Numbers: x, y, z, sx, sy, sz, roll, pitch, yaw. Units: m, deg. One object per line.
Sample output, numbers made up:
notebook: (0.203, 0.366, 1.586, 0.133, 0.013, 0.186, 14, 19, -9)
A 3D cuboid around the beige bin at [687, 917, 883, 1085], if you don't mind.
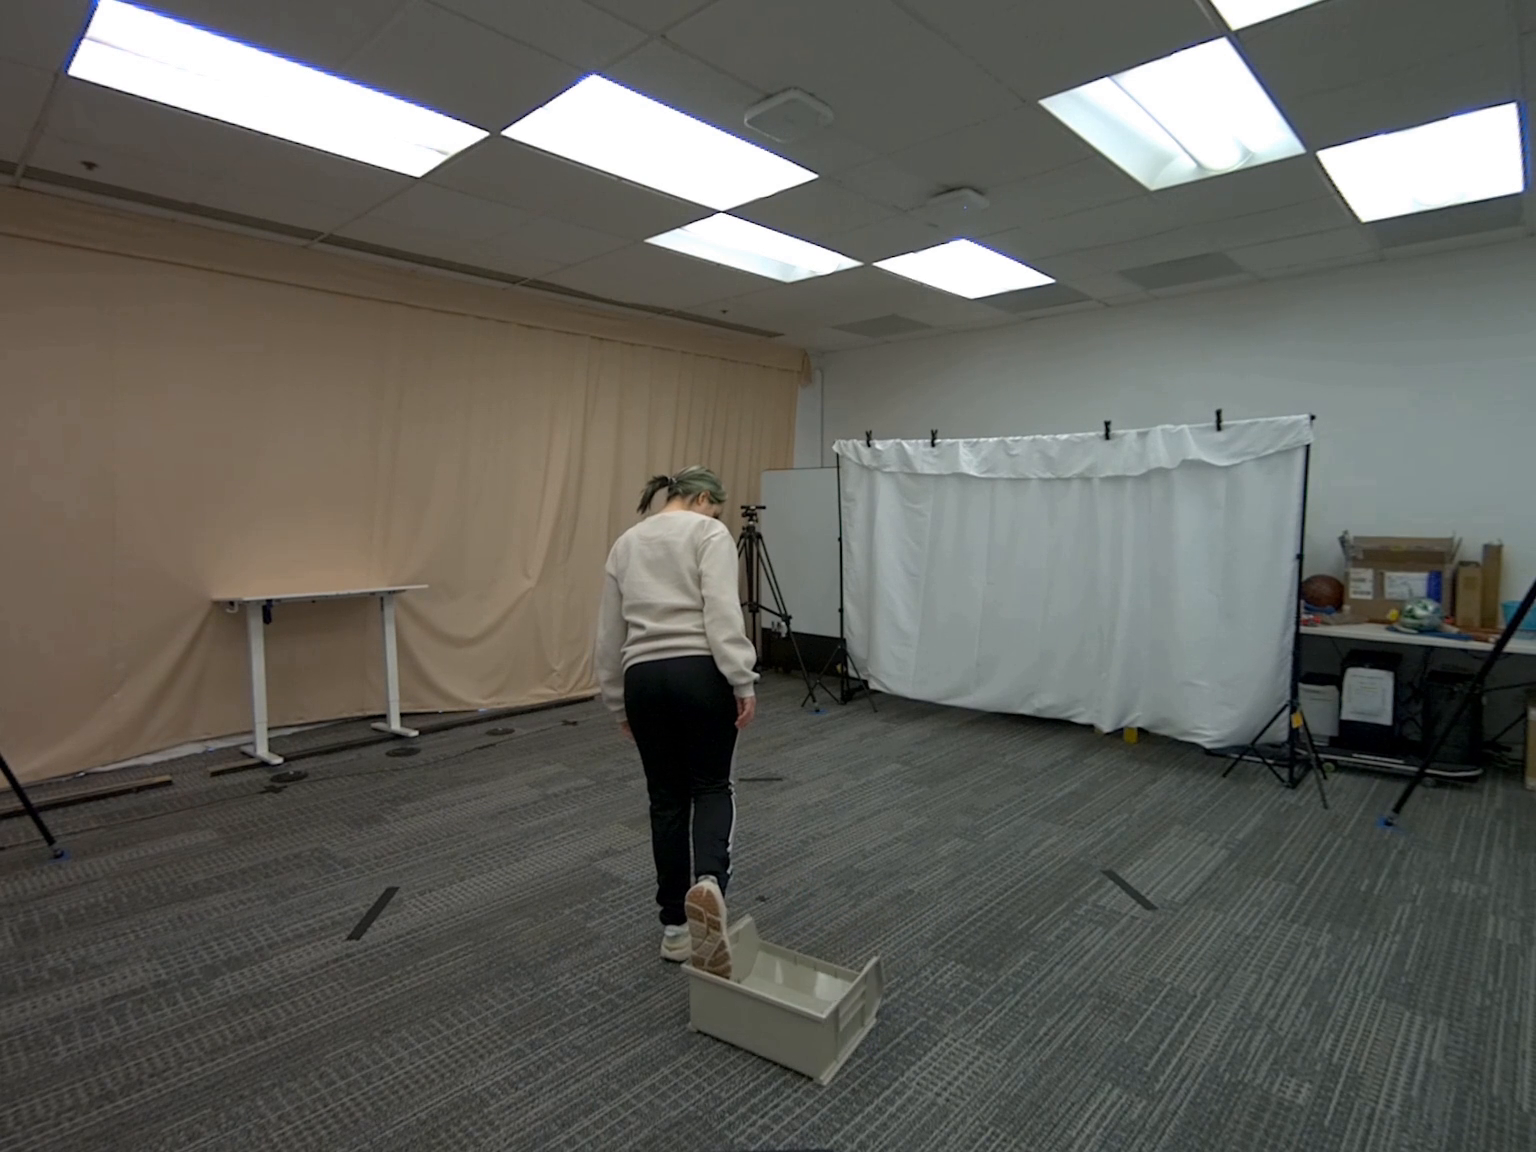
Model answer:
beige bin: (0.054, 1.113, 2.268, 0.435, 0.188, 0.367, 3, 6, 31)
